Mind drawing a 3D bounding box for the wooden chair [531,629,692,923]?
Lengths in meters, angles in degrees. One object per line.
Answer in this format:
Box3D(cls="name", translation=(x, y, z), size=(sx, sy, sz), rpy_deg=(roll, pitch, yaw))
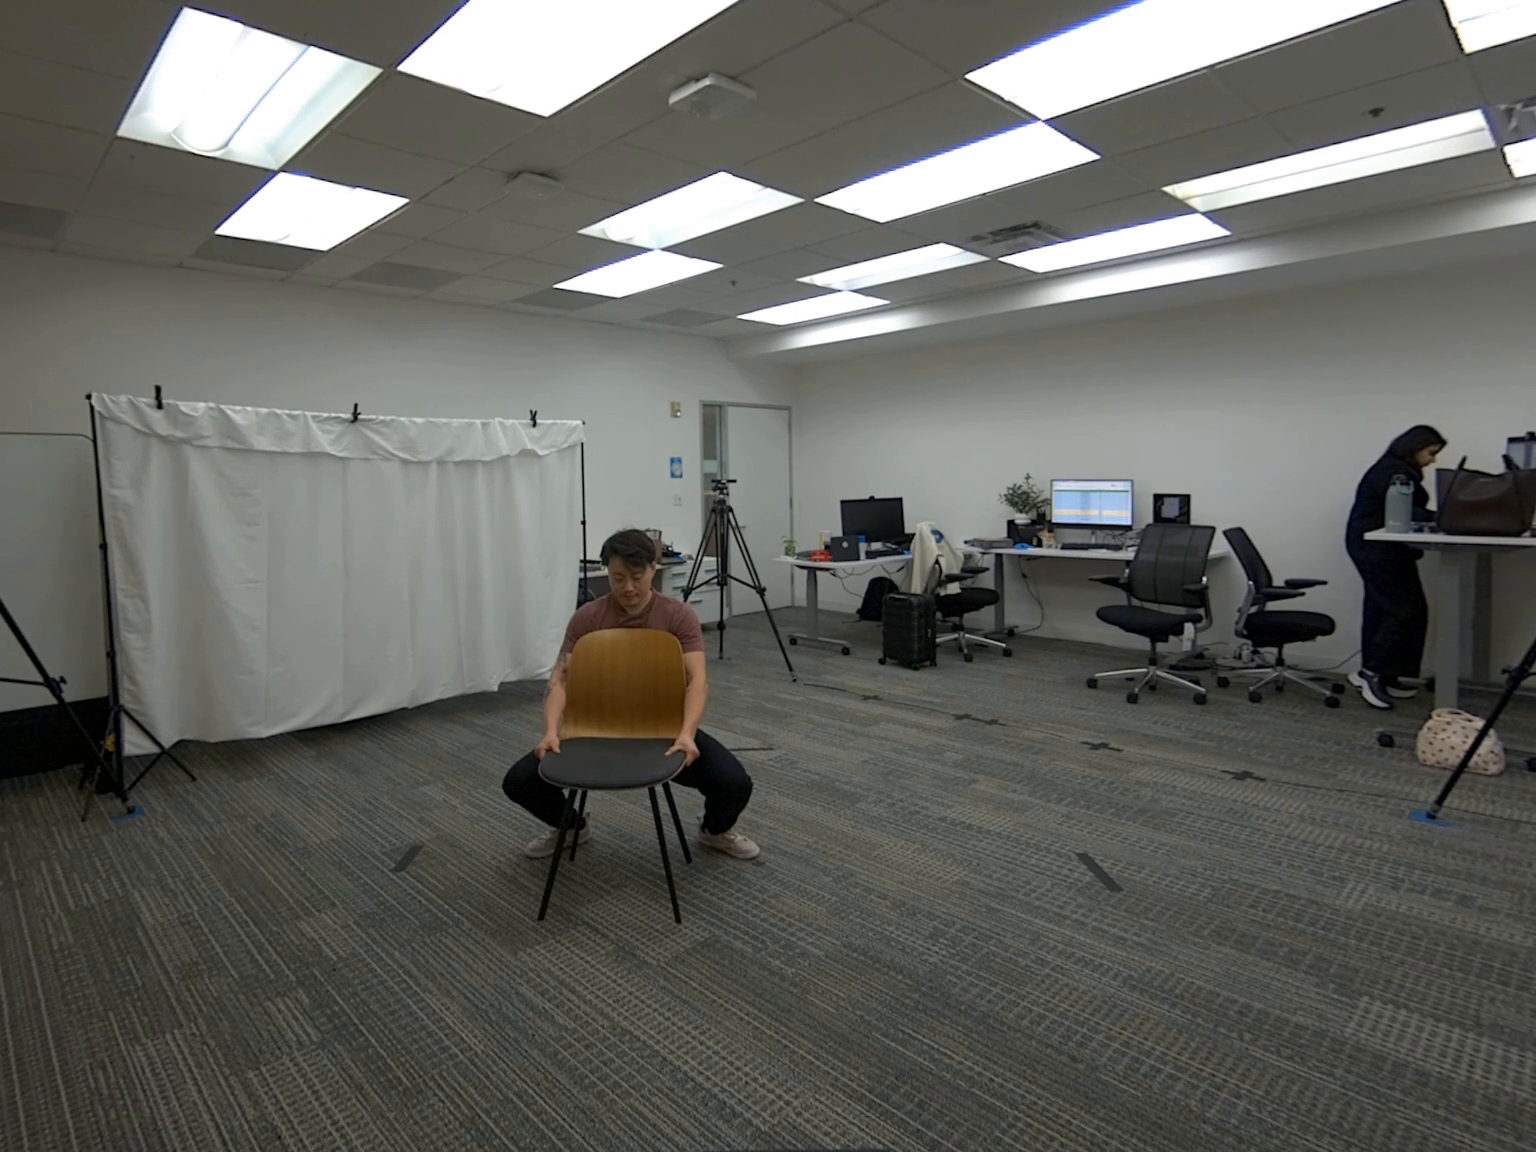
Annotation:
Box3D(cls="wooden chair", translation=(-0.494, 0.638, 2.844), size=(0.479, 0.879, 0.521), rpy_deg=(0, -1, 1))
